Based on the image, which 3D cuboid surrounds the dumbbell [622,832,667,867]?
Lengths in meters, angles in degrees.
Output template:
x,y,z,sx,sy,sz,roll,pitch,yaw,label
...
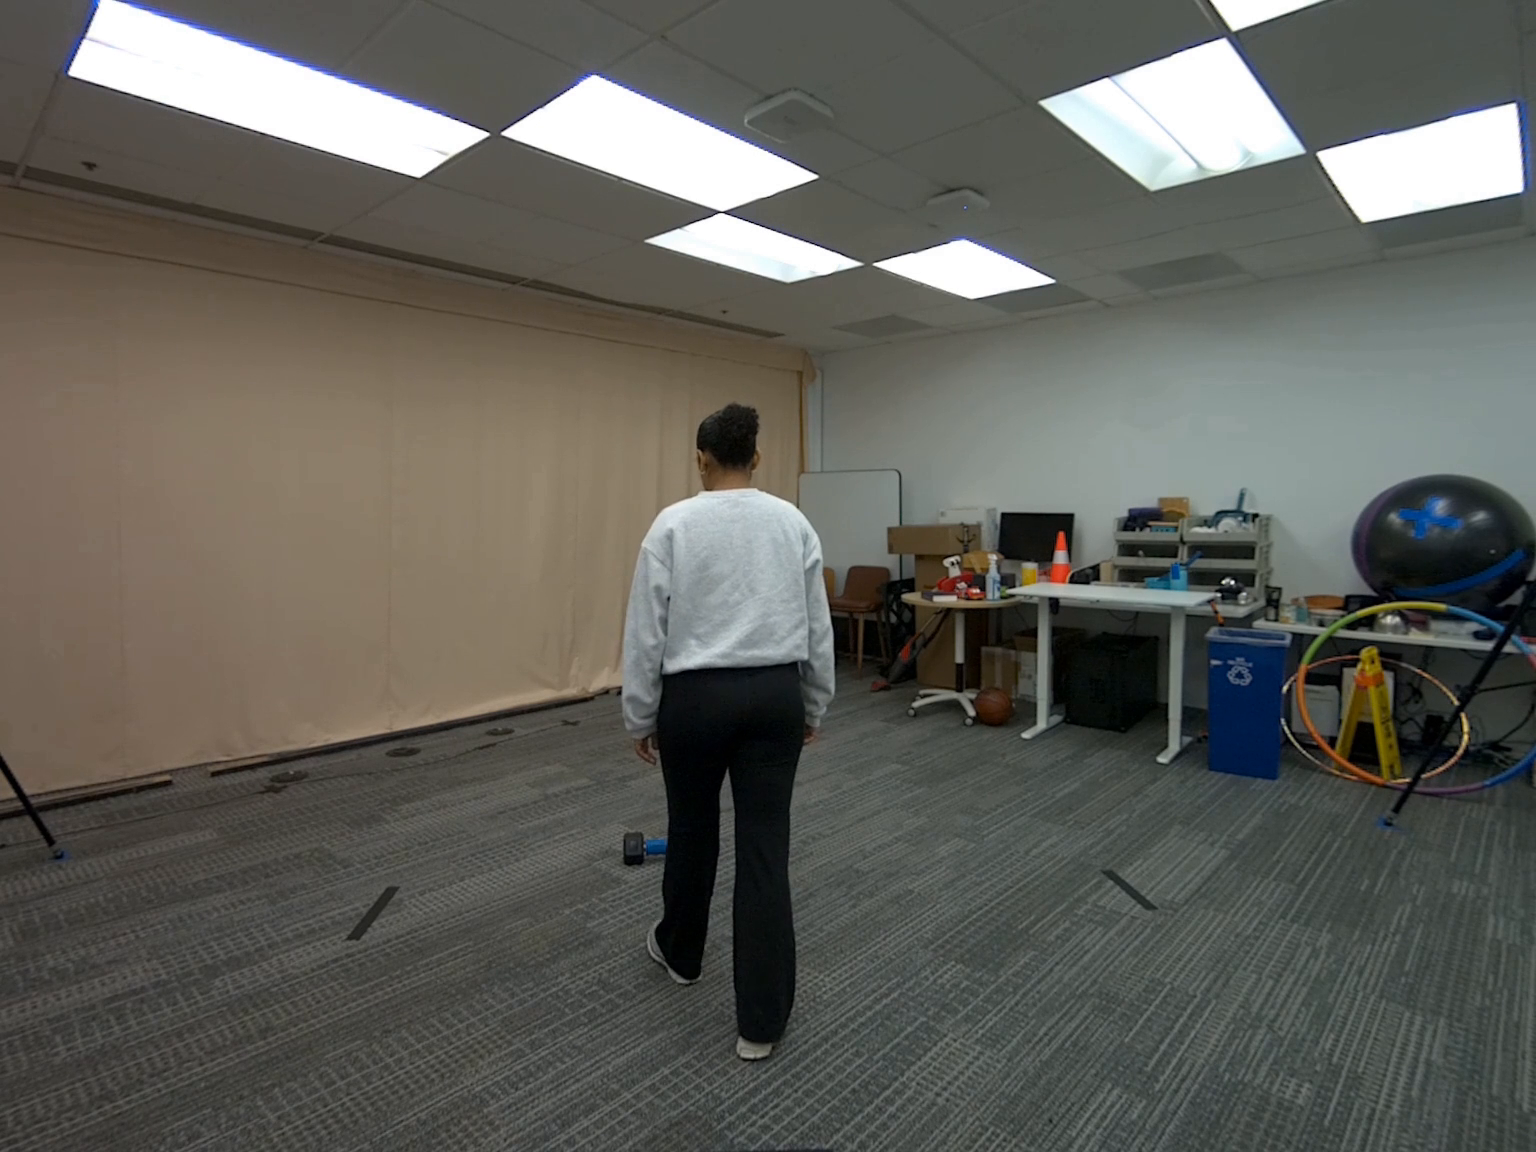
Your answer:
x,y,z,sx,sy,sz,roll,pitch,yaw,label
-0.424,1.068,3.307,0.291,0.125,0.108,0,-26,-7,dumbbell
